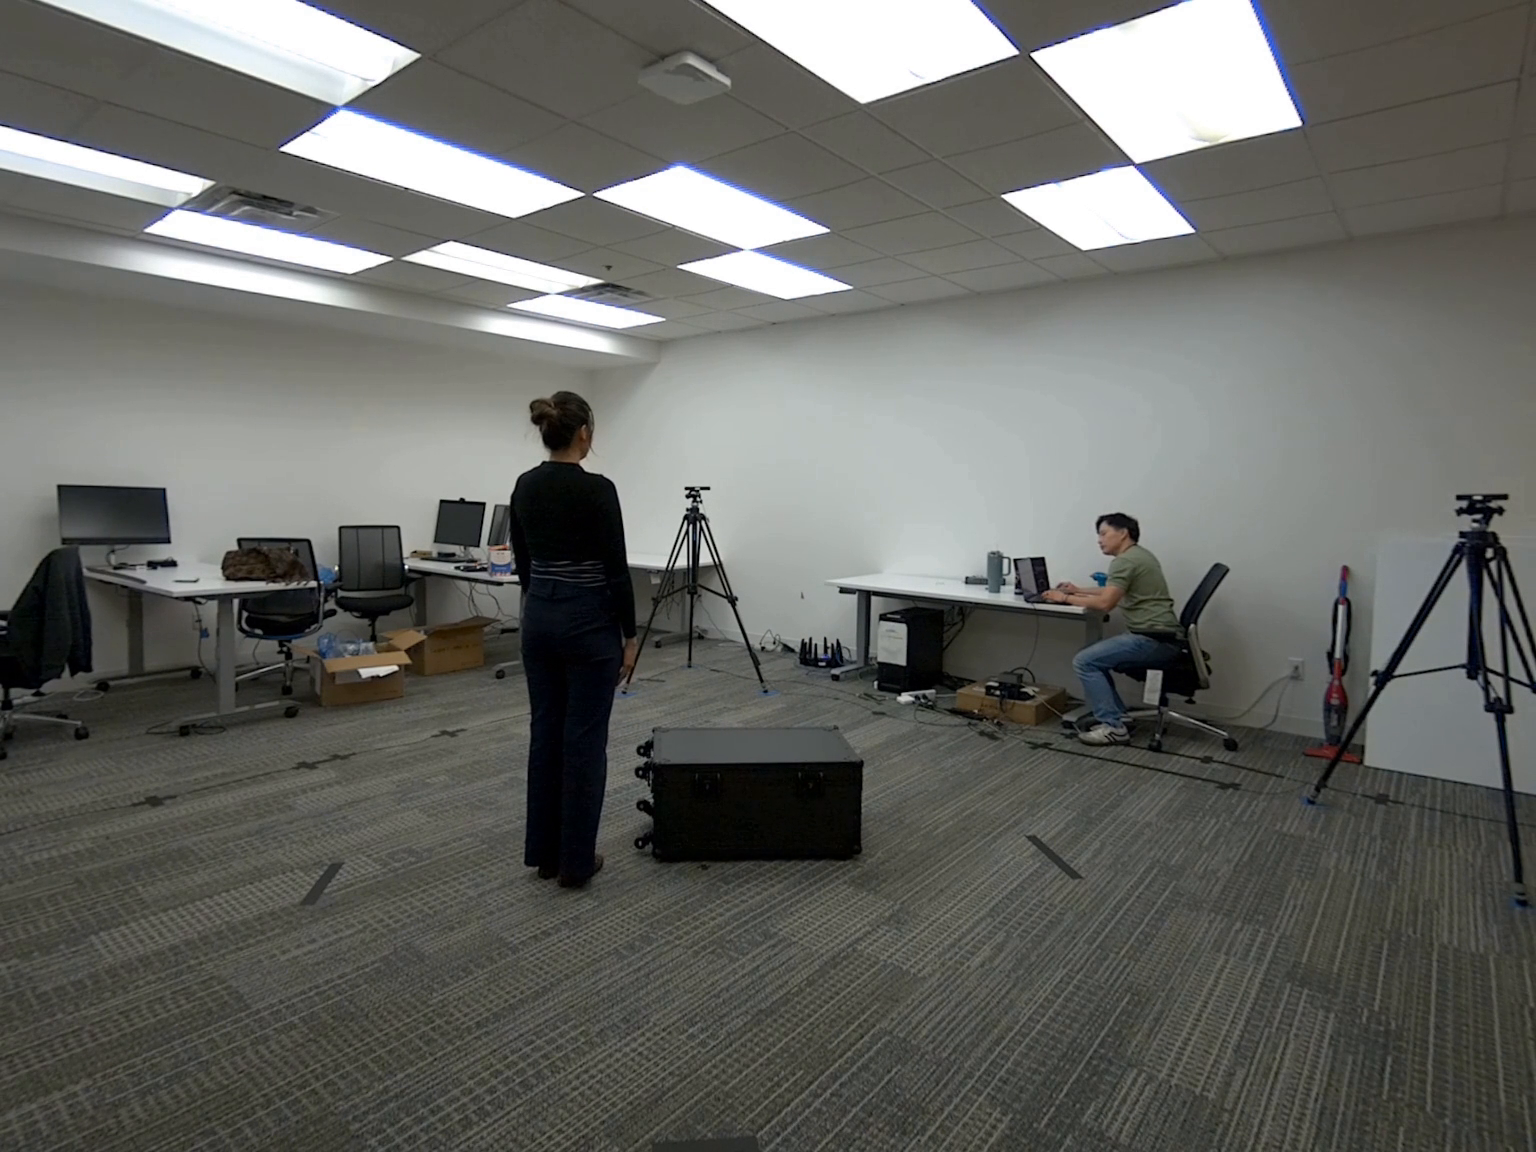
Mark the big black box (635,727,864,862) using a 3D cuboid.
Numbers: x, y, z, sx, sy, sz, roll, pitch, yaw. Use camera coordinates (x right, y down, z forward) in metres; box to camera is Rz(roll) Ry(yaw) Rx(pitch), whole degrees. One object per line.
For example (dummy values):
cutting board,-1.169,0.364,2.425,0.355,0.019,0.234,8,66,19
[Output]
big black box,-0.109,0.845,3.395,0.857,0.395,0.526,1,5,-5
